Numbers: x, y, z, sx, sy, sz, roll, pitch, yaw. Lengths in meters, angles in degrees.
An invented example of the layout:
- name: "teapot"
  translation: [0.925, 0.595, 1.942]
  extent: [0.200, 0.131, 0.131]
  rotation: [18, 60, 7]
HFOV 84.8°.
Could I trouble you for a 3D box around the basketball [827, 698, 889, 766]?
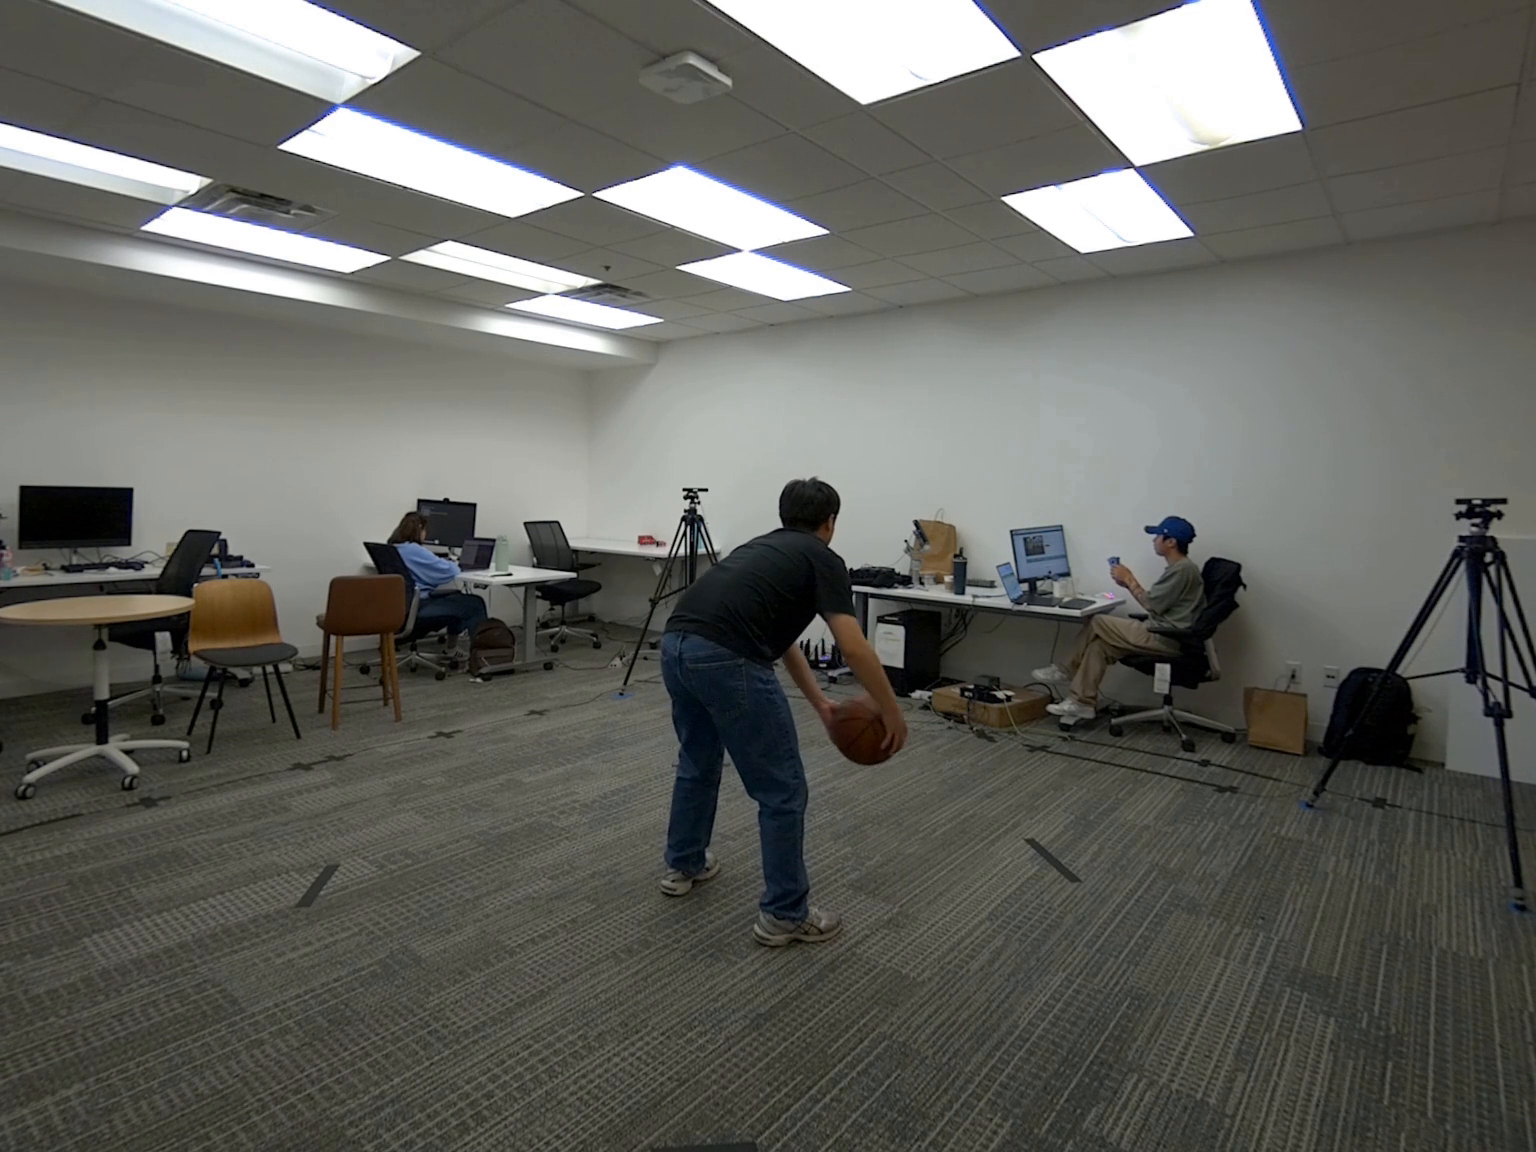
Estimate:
- name: "basketball"
  translation: [0.324, 0.506, 2.856]
  extent: [0.235, 0.235, 0.237]
  rotation: [1, 4, -2]
